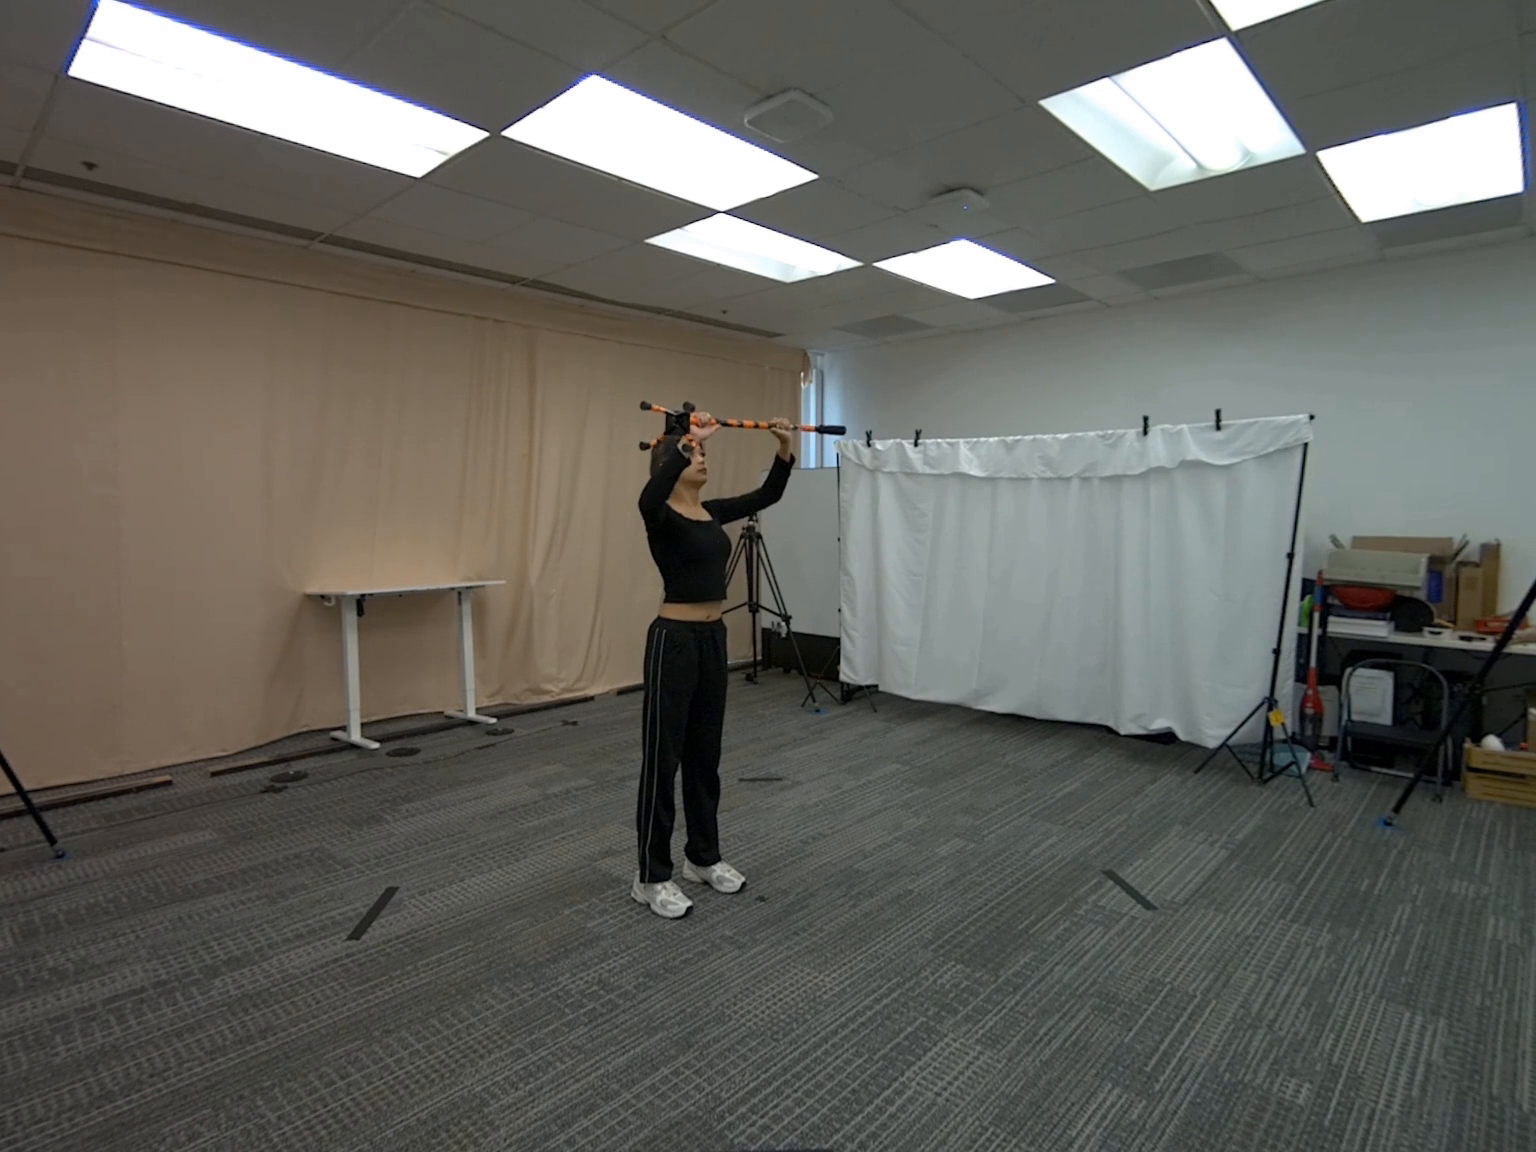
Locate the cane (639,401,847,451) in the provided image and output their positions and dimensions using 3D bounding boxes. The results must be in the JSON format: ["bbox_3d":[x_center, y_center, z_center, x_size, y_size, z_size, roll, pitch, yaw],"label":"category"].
[{"bbox_3d":[-0.046,-0.503,2.887,0.213,0.151,0.882,10,12,37],"label":"cane"}]
